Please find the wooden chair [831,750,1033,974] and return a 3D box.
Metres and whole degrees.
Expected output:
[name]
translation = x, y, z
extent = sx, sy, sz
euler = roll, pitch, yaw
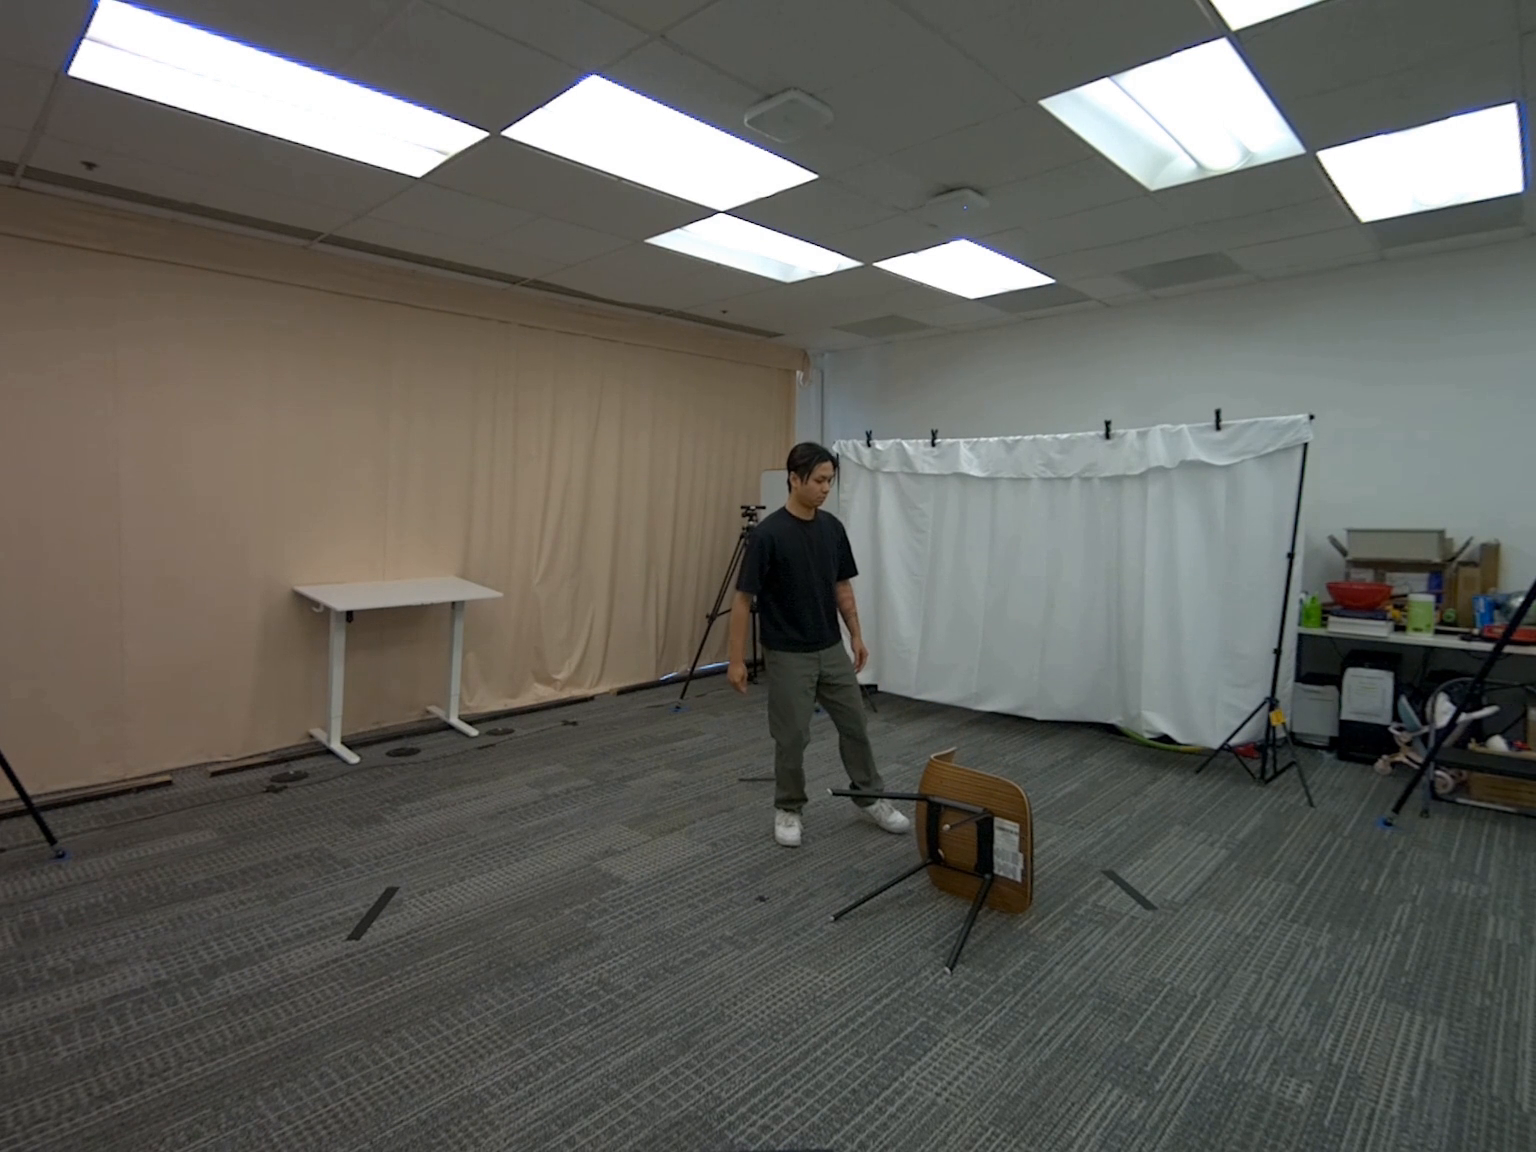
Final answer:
[wooden chair]
translation = 0.668, 0.916, 2.930
extent = 0.540, 0.477, 0.851
euler = 3, 5, 40
